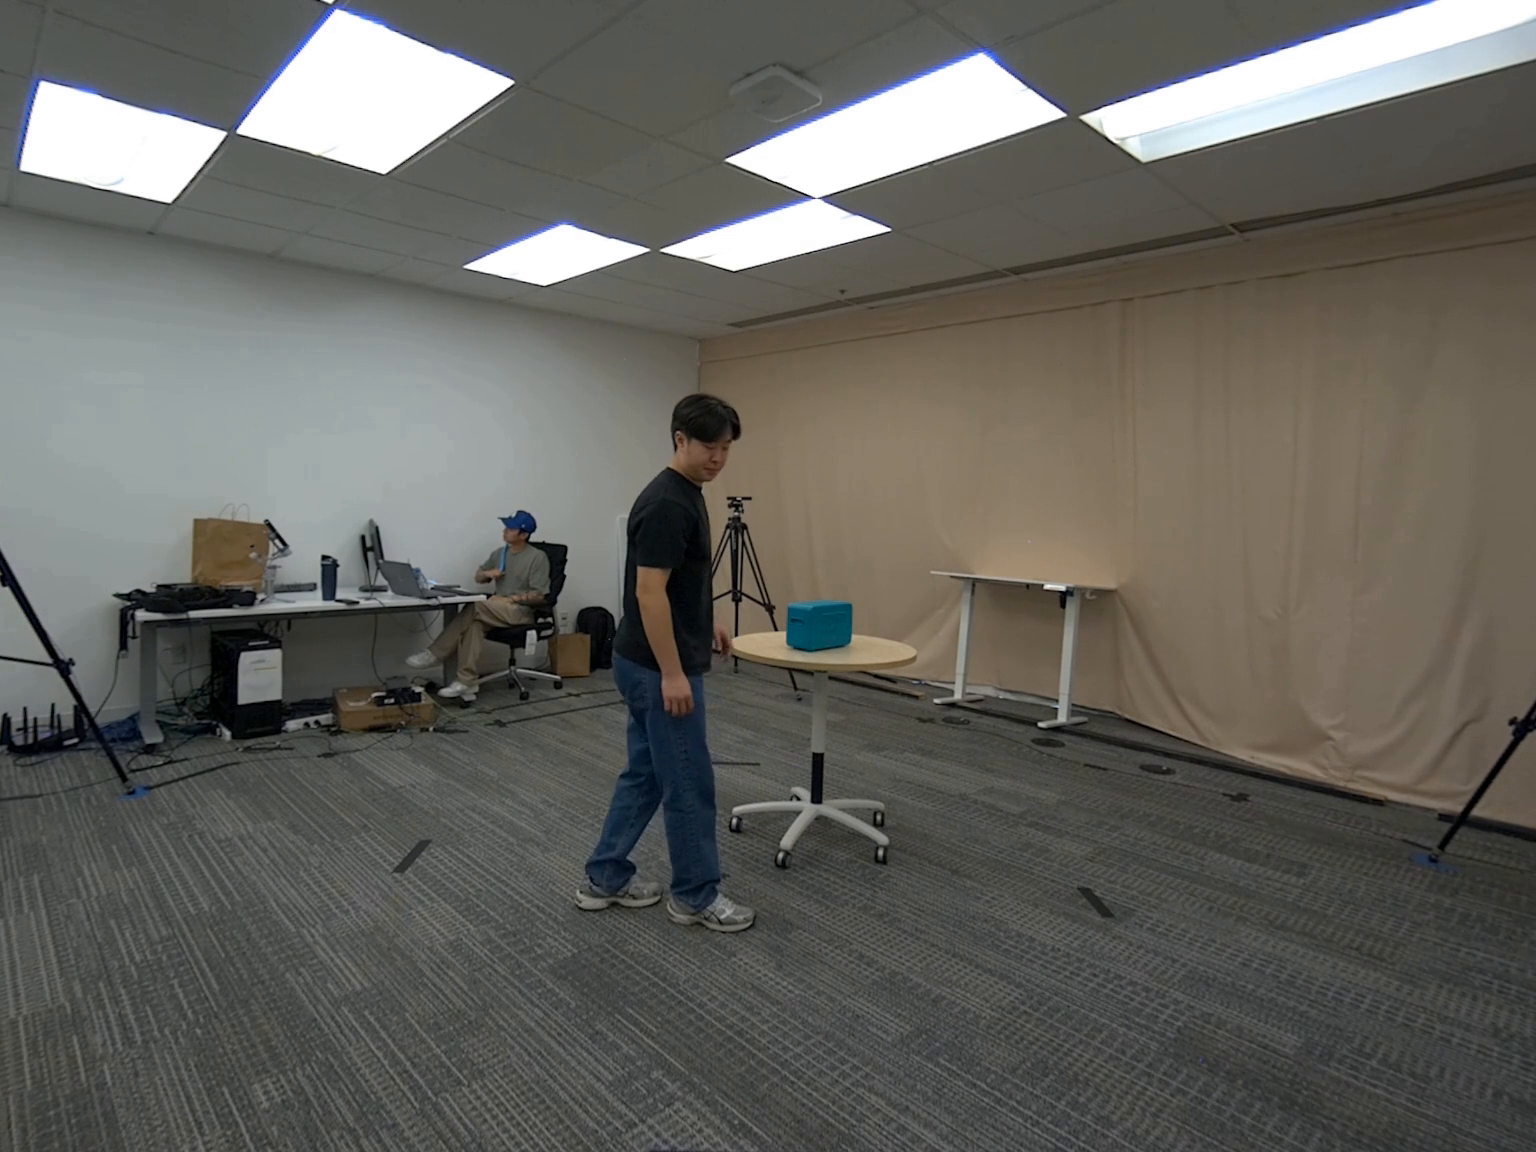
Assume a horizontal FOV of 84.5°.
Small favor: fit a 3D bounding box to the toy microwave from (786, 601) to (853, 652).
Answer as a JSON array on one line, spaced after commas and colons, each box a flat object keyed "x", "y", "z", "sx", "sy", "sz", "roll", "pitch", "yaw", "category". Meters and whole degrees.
[{"x": 0.203, "y": 0.200, "z": 3.435, "sx": 0.156, "sy": 0.184, "sz": 0.279, "roll": 5, "pitch": 5, "yaw": 44, "category": "toy microwave"}]
